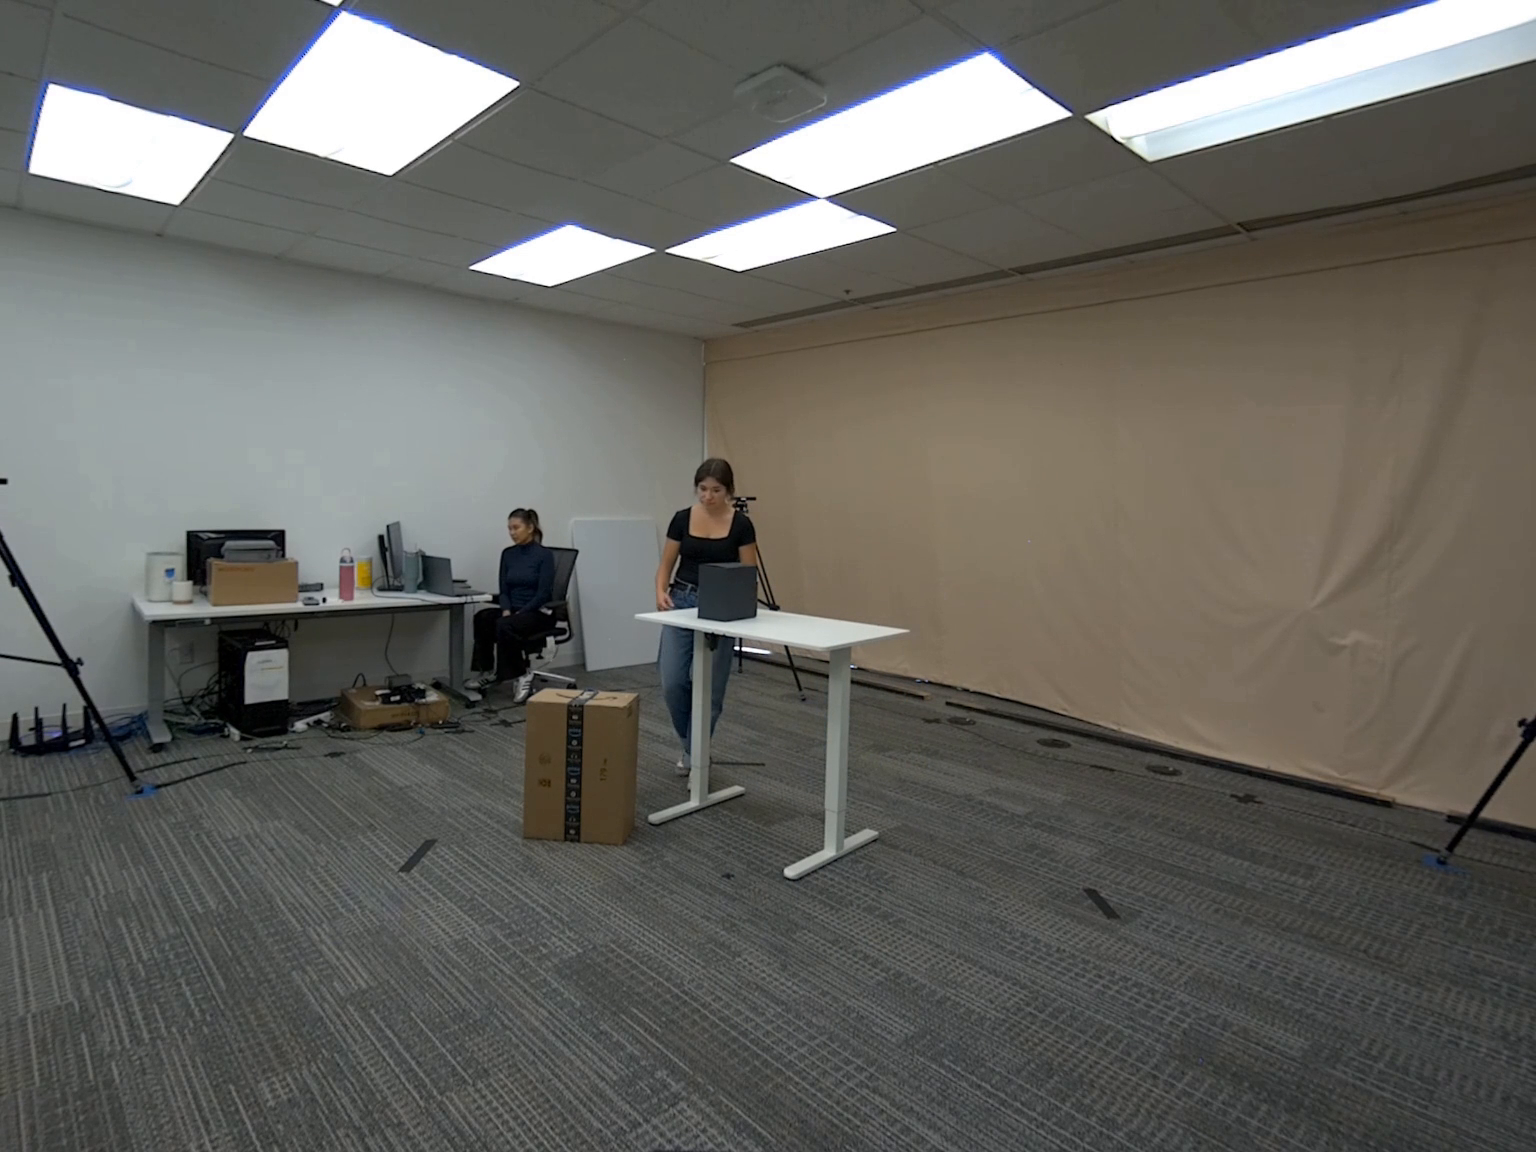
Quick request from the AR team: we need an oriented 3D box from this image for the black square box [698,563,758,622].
[{"bbox_3d":[-0.178,0.064,3.599,0.160,0.227,0.212,5,5,39],"label":"black square box"}]
